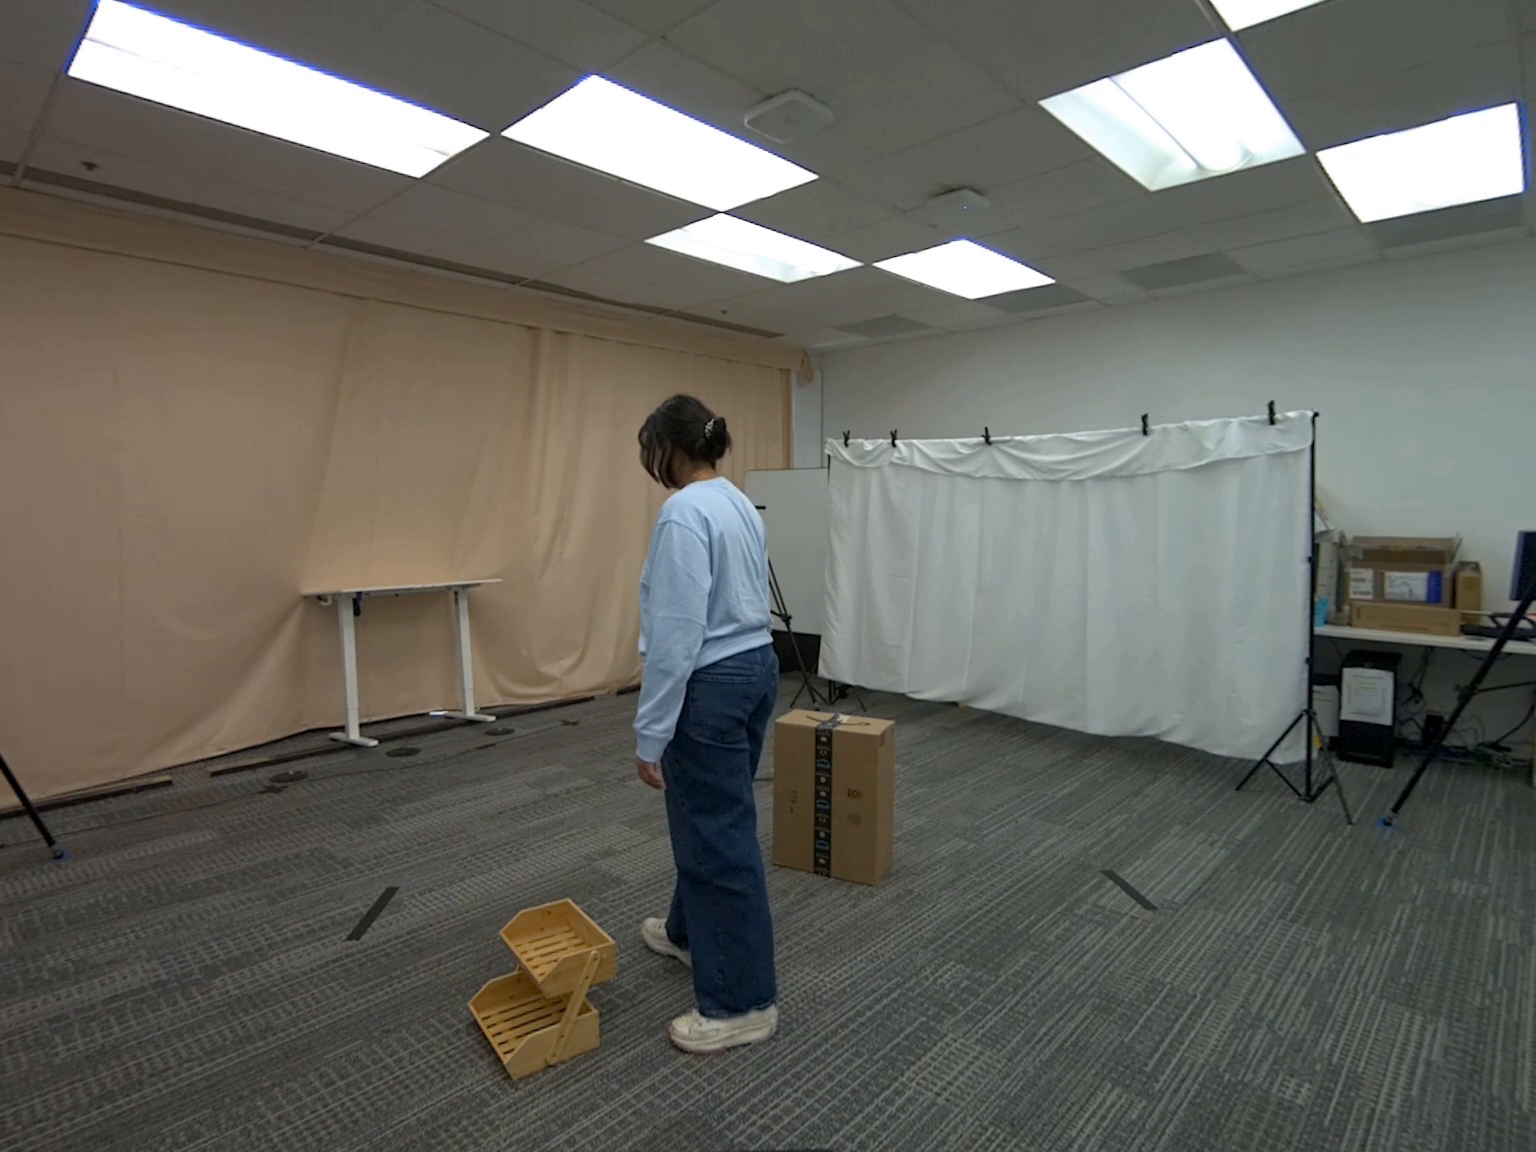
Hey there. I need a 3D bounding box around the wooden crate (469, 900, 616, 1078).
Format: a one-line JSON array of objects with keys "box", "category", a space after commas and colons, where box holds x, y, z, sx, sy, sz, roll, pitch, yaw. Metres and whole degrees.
[{"box": [-0.603, 1.084, 2.233, 0.293, 0.273, 0.335, -2, 4, -36], "category": "wooden crate"}]
